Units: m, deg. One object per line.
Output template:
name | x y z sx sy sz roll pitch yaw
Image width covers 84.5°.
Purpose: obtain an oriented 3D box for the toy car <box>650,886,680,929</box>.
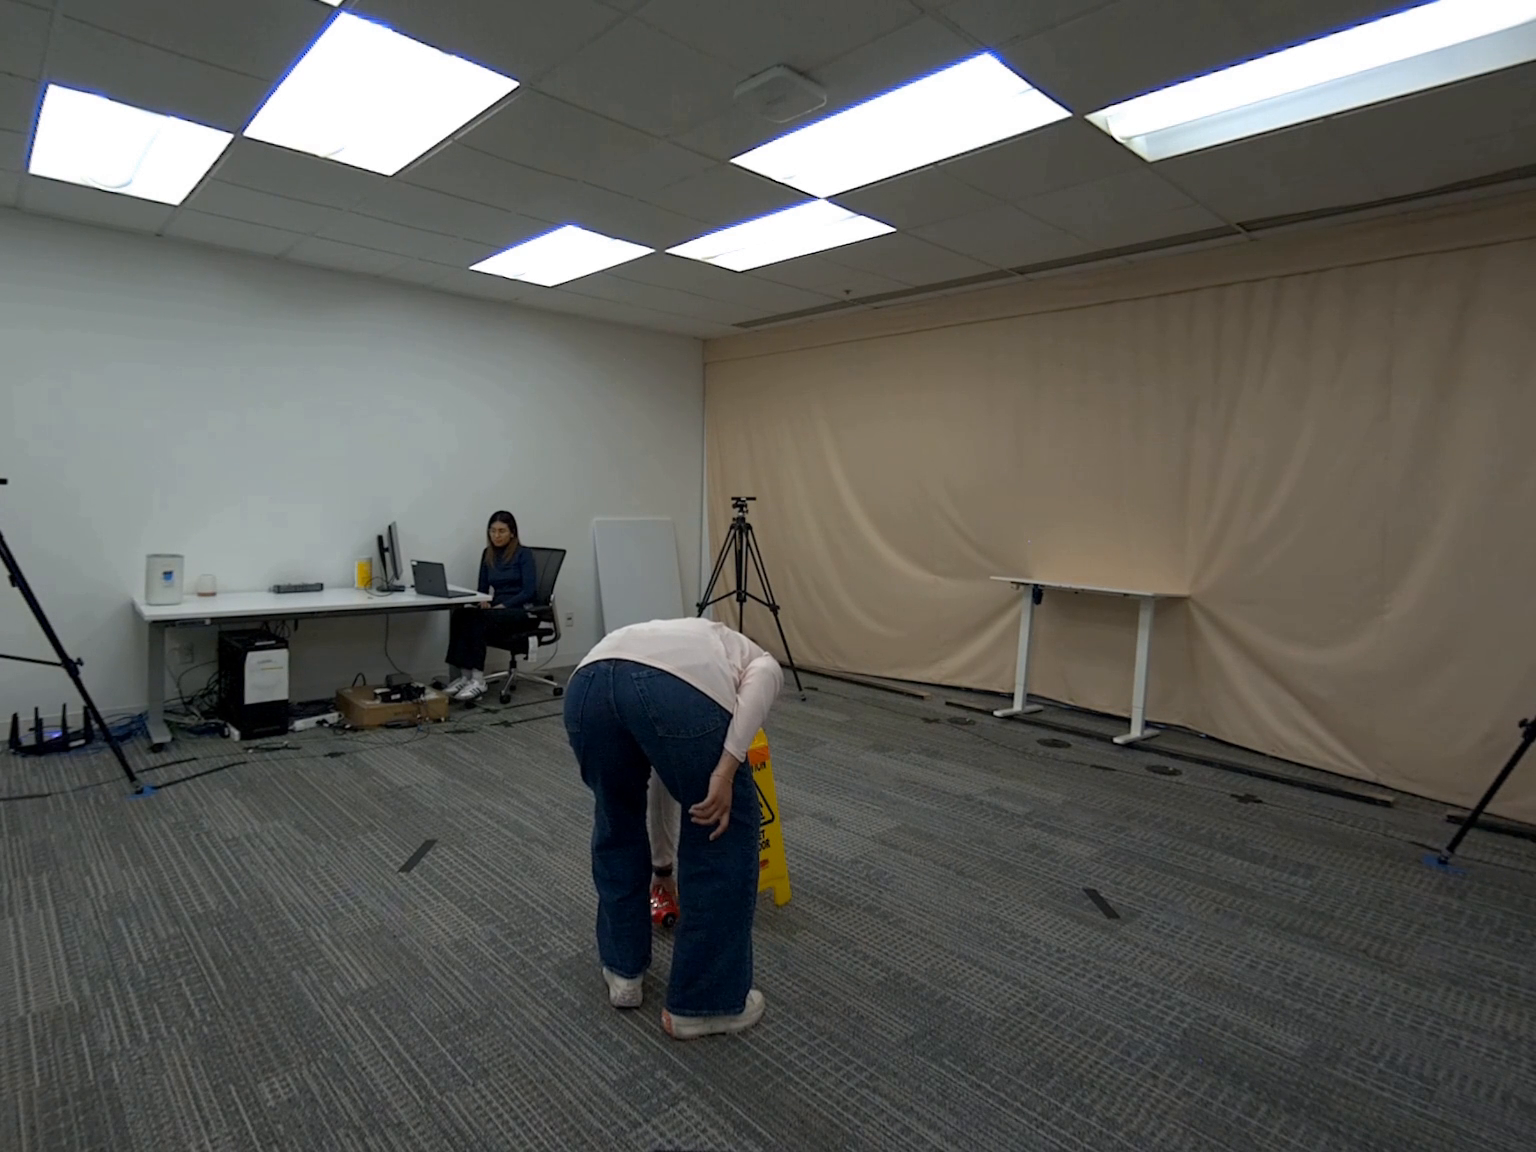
toy car | -0.308 1.081 2.727 0.249 0.083 0.133 5 5 -28
